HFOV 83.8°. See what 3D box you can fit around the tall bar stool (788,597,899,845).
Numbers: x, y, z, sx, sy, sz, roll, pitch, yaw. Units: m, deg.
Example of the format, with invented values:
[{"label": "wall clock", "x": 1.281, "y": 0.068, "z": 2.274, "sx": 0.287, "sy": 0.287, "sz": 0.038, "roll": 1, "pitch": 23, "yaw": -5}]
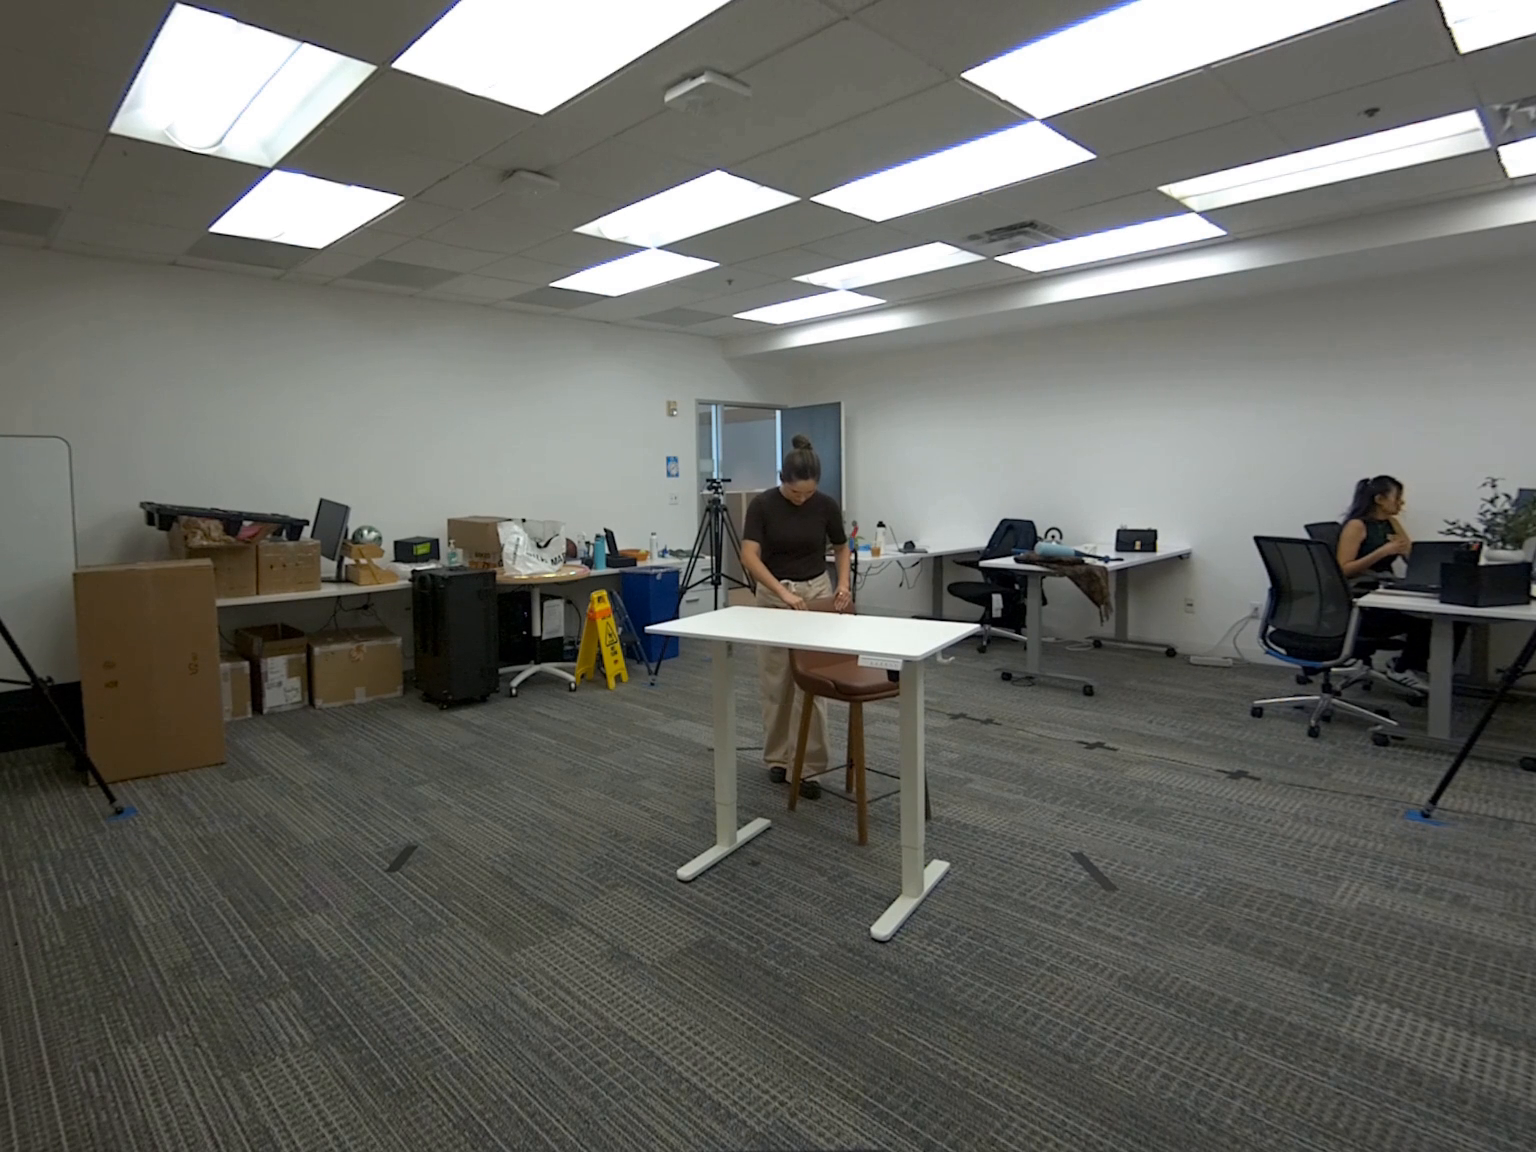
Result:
[{"label": "tall bar stool", "x": 0.358, "y": 0.556, "z": 3.515, "sx": 0.444, "sy": 0.888, "sz": 0.481, "roll": -3, "pitch": 3, "yaw": -40}]
